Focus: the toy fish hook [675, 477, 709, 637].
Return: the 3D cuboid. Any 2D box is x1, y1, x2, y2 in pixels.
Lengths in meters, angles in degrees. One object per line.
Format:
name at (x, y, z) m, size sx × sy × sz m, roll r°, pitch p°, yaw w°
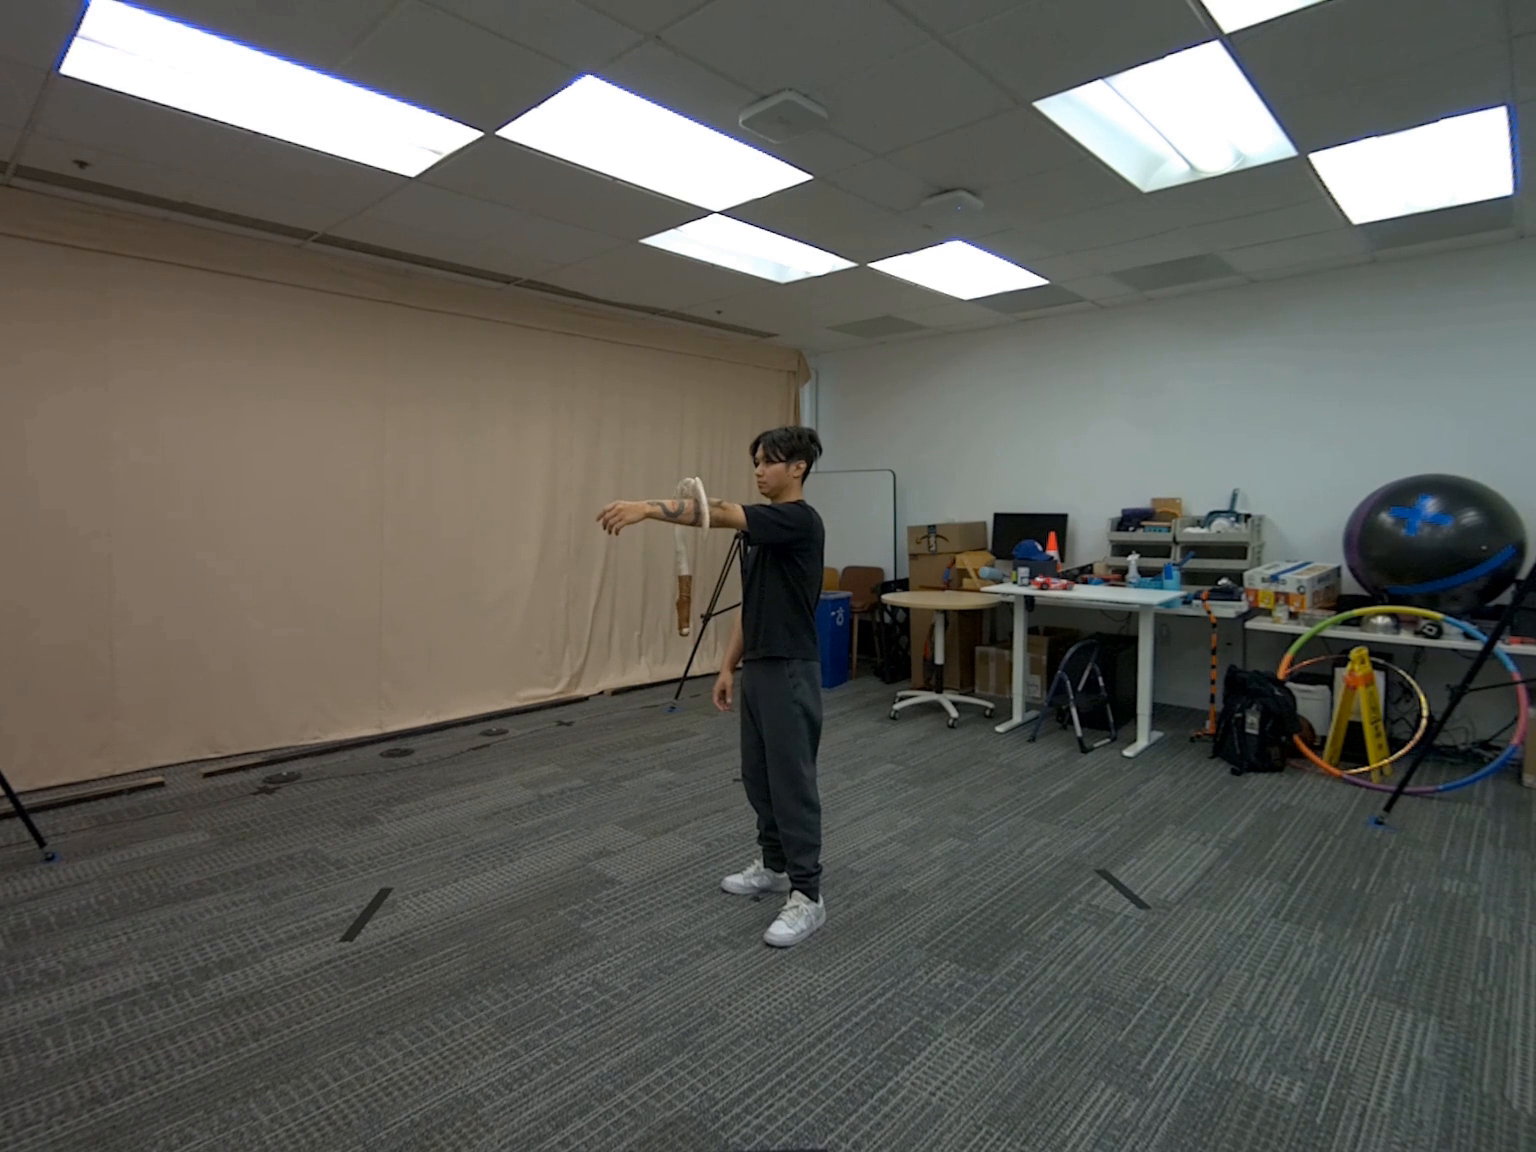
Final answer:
toy fish hook at (-0.233, -0.047, 2.640) m, size 0.047 × 0.505 × 0.231 m, roll -3°, pitch 4°, yaw -27°
